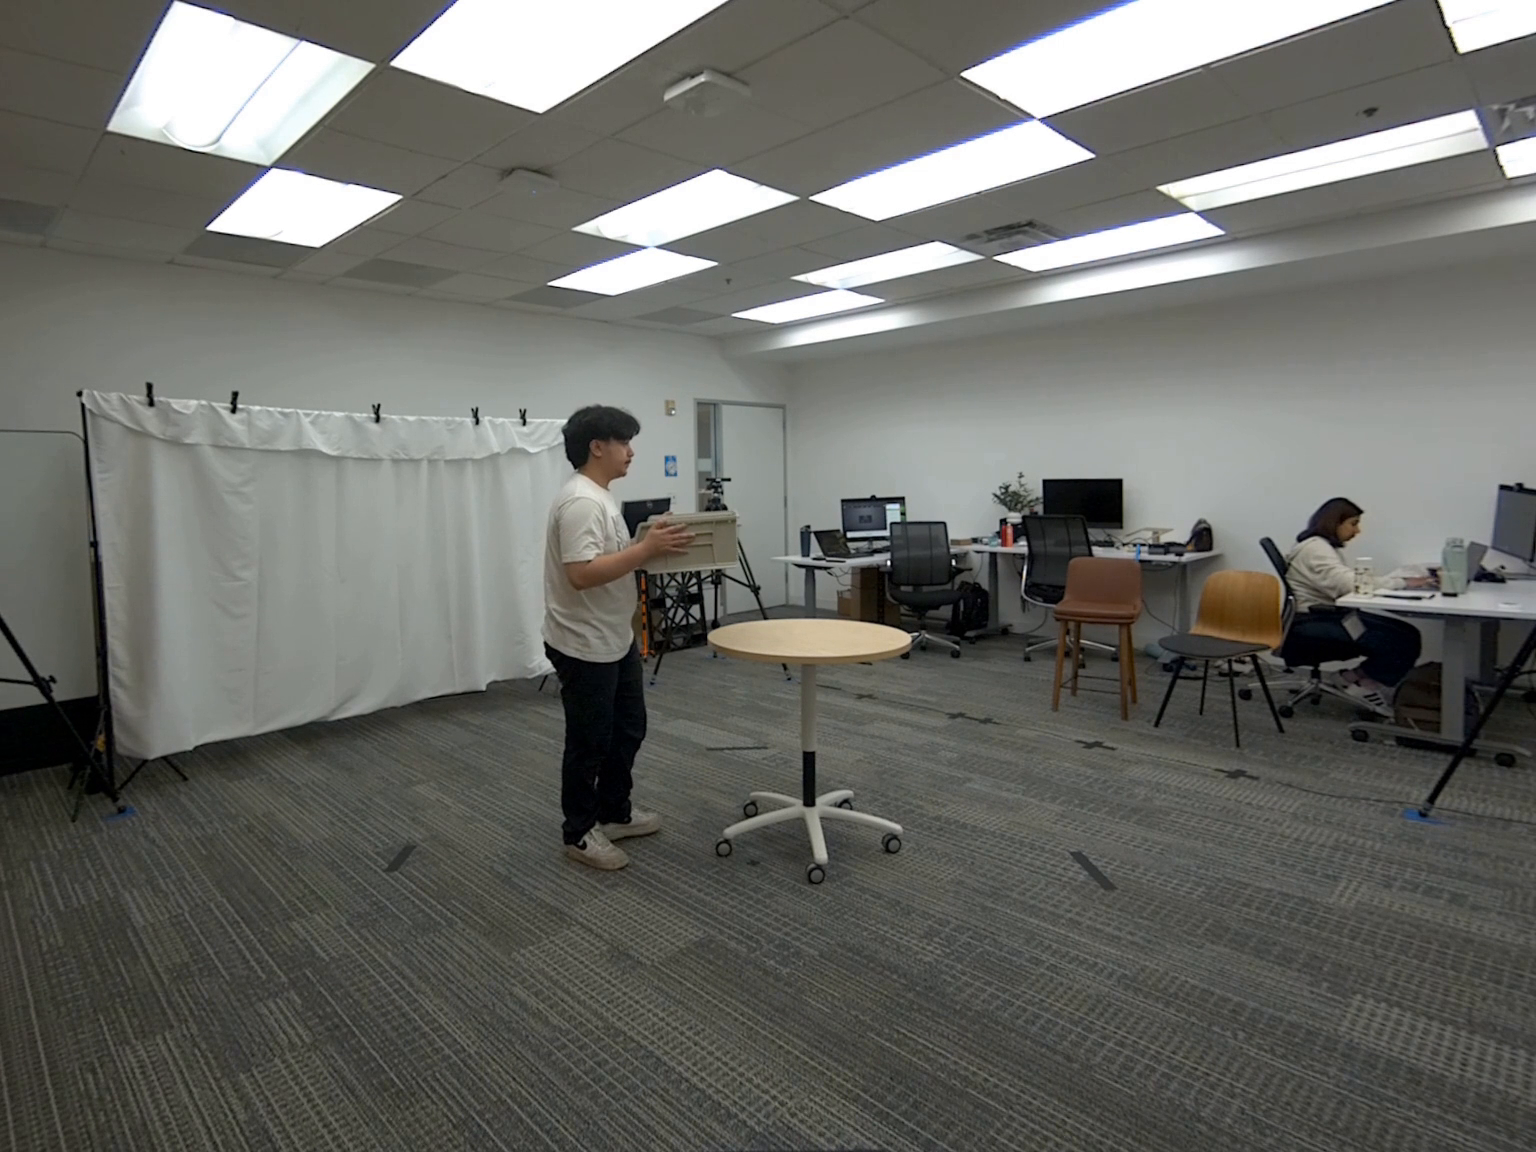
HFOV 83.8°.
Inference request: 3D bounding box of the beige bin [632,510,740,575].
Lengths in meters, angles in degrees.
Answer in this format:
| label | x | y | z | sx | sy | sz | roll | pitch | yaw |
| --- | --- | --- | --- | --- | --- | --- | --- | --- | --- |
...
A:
| label | x | y | z | sx | sy | sz | roll | pitch | yaw |
| --- | --- | --- | --- | --- | --- | --- | --- | --- | --- |
| beige bin | -0.301 | -0.125 | 3.142 | 0.376 | 0.188 | 0.425 | -2 | 6 | -3 |
